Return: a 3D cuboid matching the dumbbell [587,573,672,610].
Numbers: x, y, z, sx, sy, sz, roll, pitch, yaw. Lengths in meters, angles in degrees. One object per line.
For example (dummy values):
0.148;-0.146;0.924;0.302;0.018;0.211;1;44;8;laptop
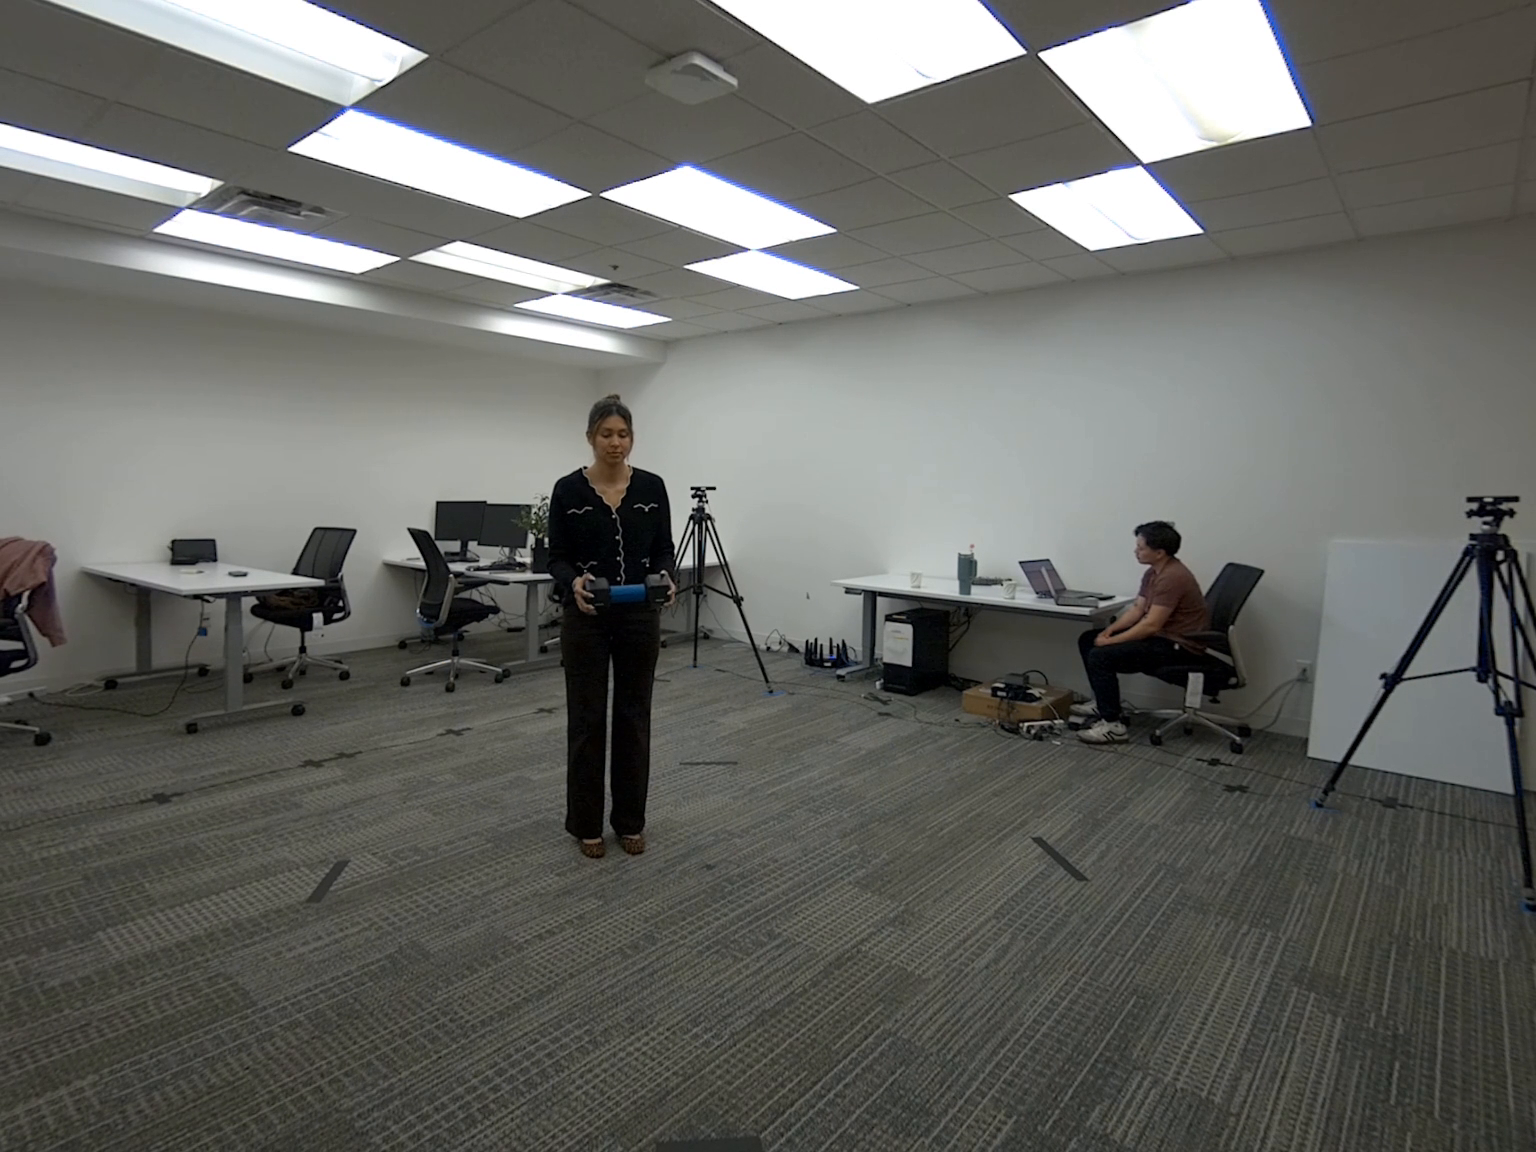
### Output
-0.515;0.054;2.986;0.287;0.107;0.128;0;42;-21;dumbbell
